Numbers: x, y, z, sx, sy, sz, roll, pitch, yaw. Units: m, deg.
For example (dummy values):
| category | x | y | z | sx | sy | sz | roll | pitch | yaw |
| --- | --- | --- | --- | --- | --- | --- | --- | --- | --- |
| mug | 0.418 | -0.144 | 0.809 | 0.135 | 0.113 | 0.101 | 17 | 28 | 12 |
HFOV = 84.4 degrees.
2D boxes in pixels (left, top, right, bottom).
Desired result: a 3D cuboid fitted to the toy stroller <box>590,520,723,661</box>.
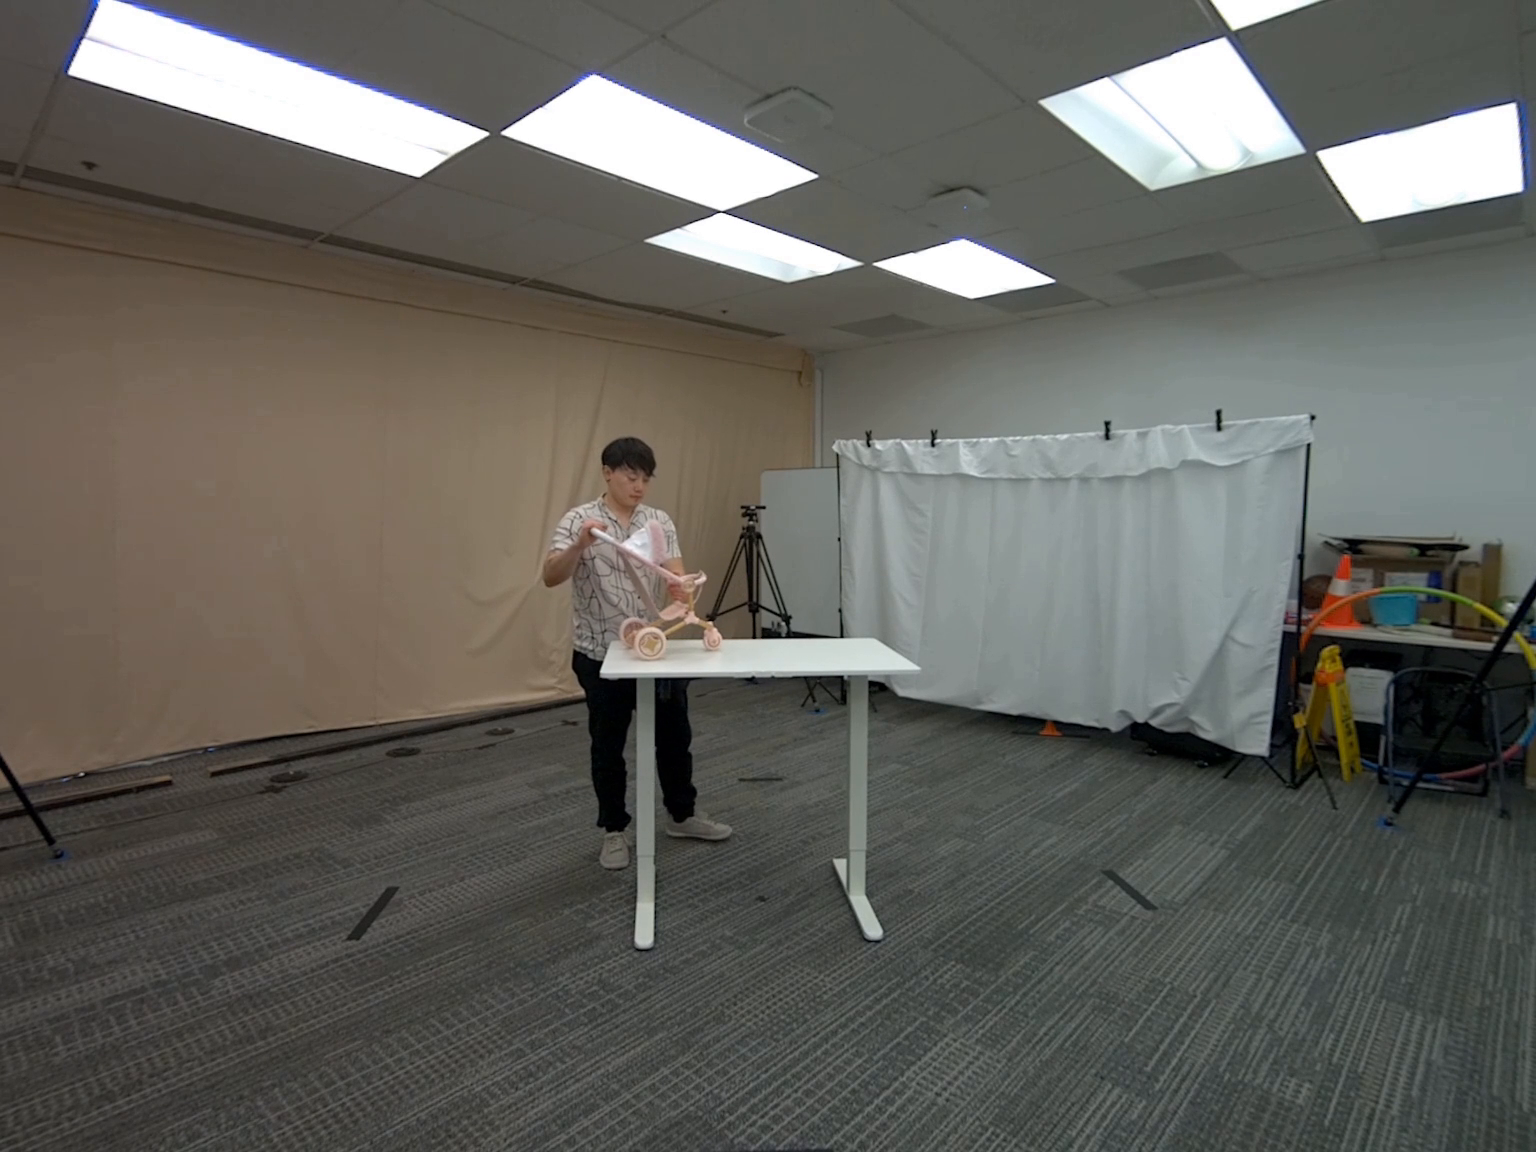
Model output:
| category | x | y | z | sx | sy | sz | roll | pitch | yaw |
| --- | --- | --- | --- | --- | --- | --- | --- | --- | --- |
| toy stroller | -0.363 | 0.046 | 2.898 | 0.338 | 0.532 | 0.286 | -16 | 7 | -12 |
